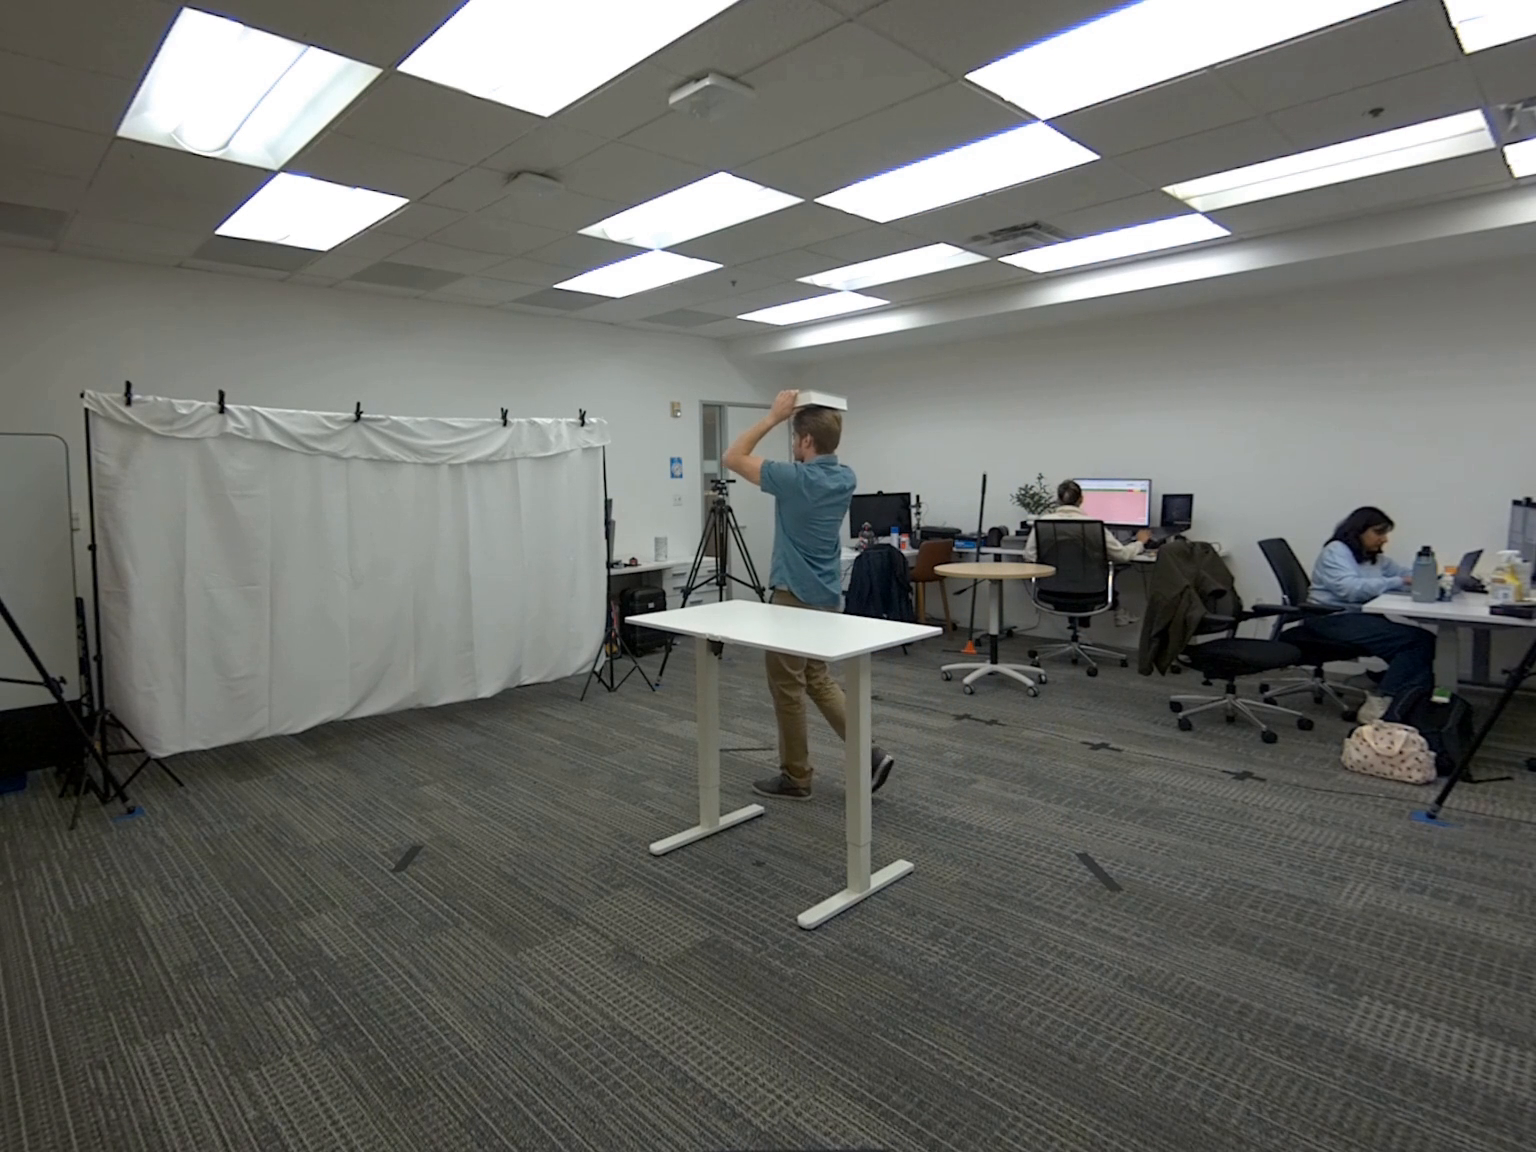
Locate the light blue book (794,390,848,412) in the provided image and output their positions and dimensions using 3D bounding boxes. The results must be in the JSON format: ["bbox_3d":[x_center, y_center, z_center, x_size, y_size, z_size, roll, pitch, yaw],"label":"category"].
[{"bbox_3d":[0.196,-0.734,3.638,0.196,0.059,0.254,-2,0,38],"label":"light blue book"}]
